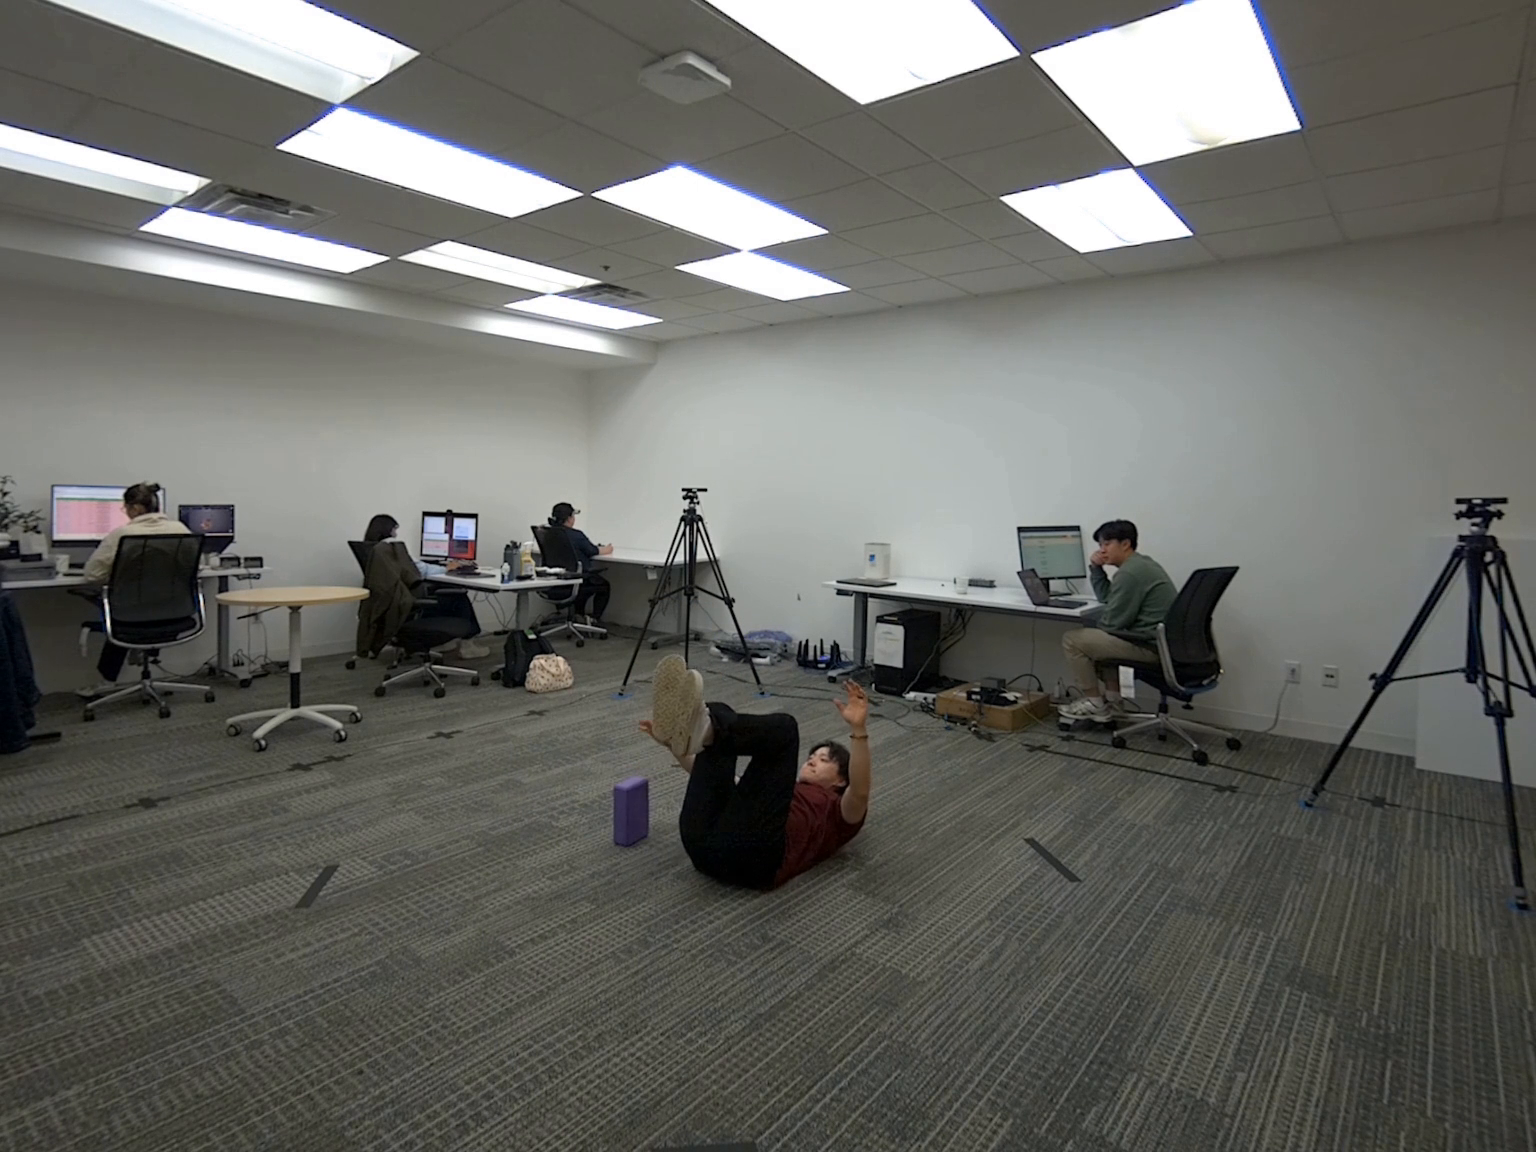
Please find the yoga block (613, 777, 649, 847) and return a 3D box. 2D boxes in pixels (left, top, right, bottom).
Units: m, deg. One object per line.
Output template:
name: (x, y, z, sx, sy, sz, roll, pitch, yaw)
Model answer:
yoga block: (-0.551, 0.922, 3.357, 0.078, 0.229, 0.145, 1, 4, 30)
